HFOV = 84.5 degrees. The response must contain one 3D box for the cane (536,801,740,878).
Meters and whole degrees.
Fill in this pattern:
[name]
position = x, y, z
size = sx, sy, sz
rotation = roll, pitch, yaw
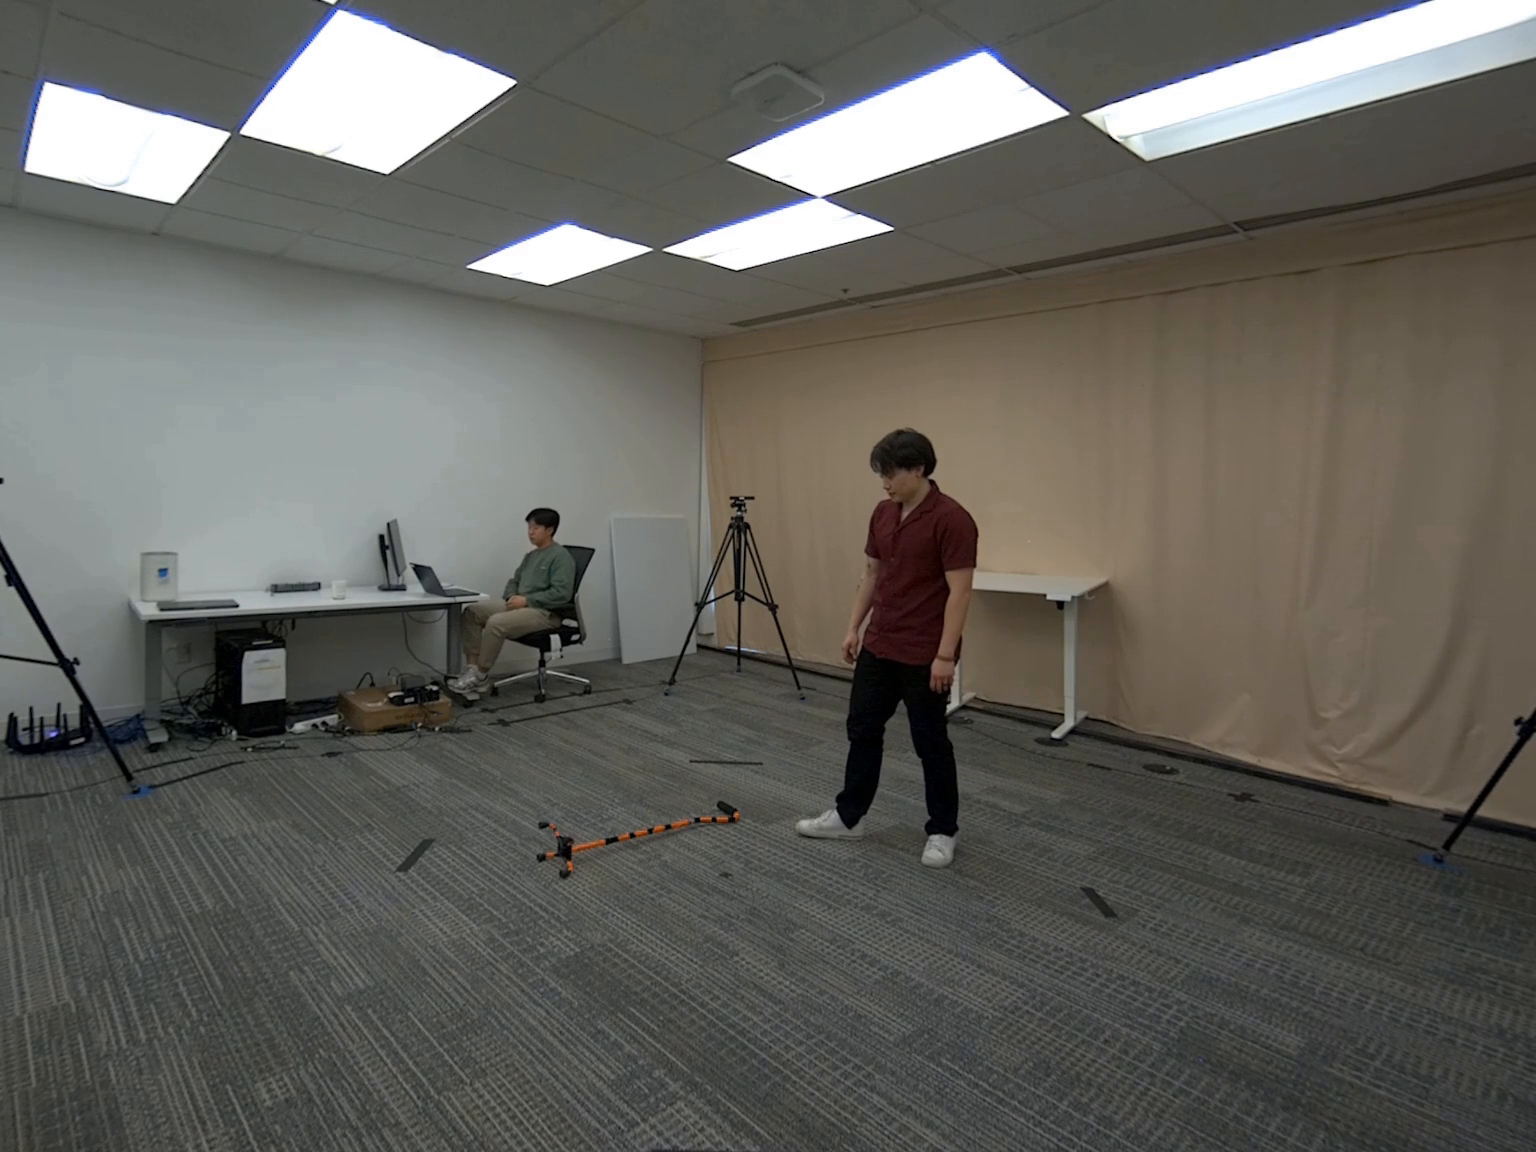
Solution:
[cane]
position = -0.486, 1.015, 3.406
size = 0.886, 0.151, 0.212
rotation = 1, 4, -42
